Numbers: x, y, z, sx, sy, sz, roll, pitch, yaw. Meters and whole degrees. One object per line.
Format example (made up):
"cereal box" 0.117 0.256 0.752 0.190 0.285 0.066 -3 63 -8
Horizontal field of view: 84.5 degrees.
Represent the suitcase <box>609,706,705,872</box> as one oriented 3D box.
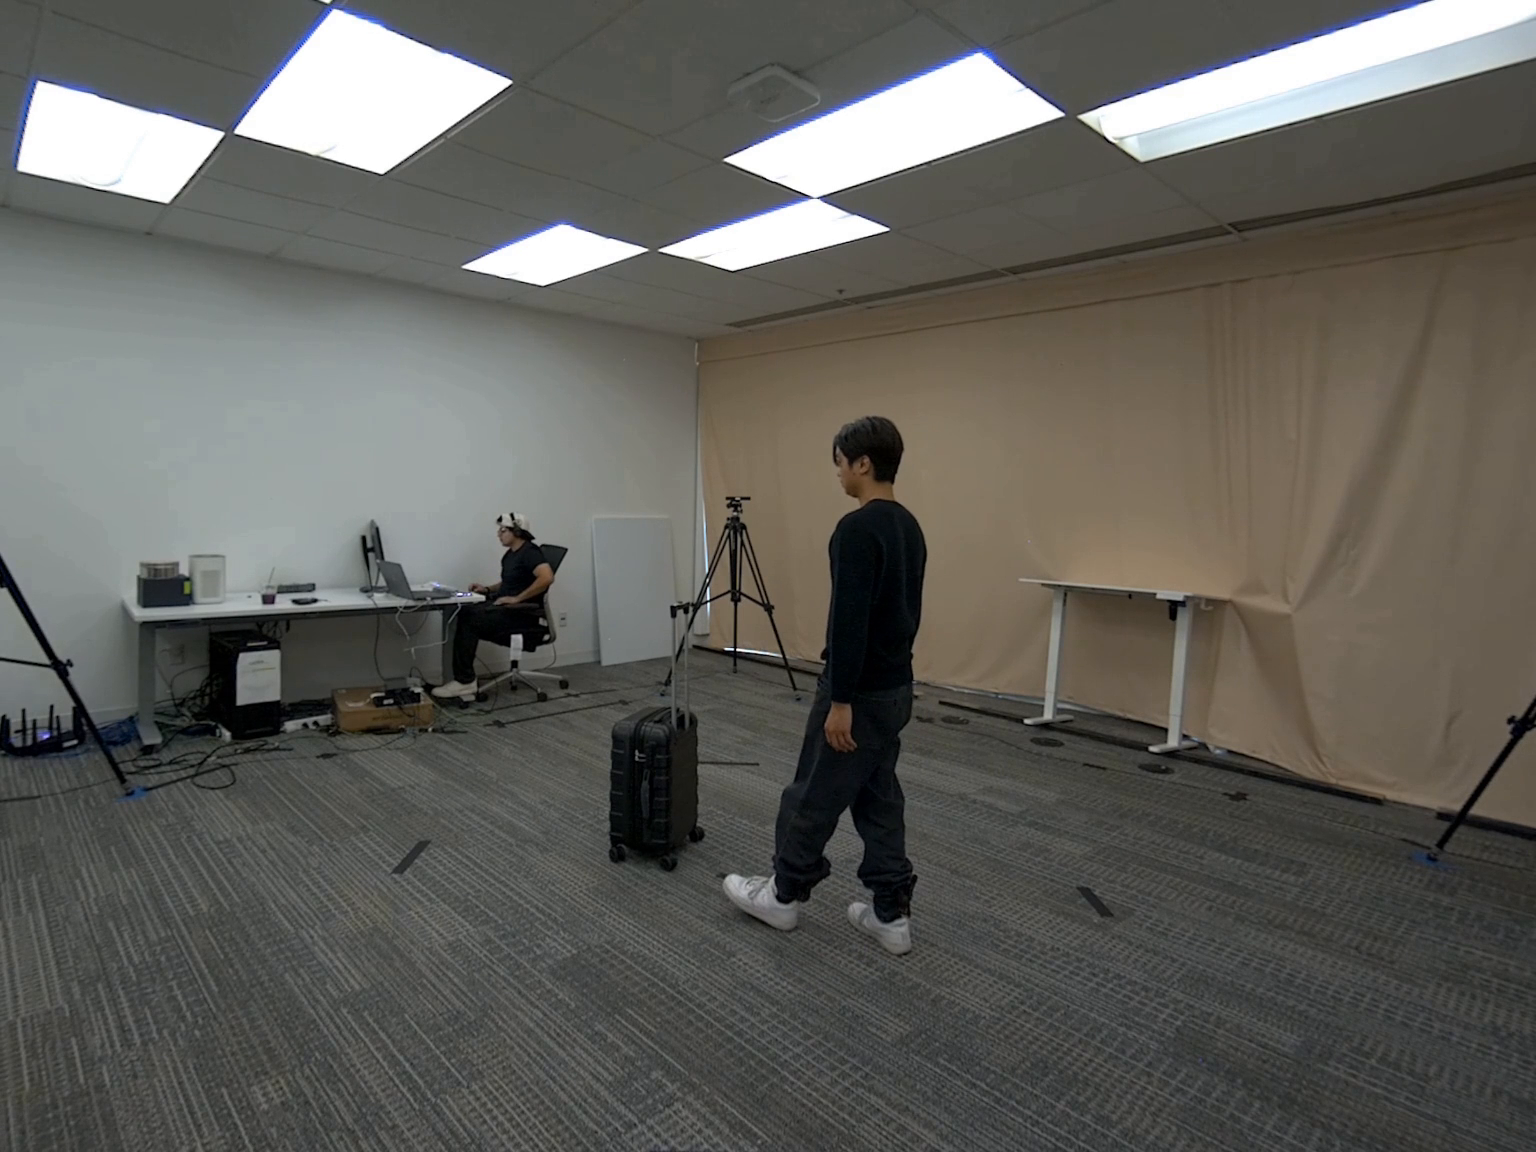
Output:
"suitcase" -0.457 0.604 3.309 0.260 0.978 0.379 -2 1 16
